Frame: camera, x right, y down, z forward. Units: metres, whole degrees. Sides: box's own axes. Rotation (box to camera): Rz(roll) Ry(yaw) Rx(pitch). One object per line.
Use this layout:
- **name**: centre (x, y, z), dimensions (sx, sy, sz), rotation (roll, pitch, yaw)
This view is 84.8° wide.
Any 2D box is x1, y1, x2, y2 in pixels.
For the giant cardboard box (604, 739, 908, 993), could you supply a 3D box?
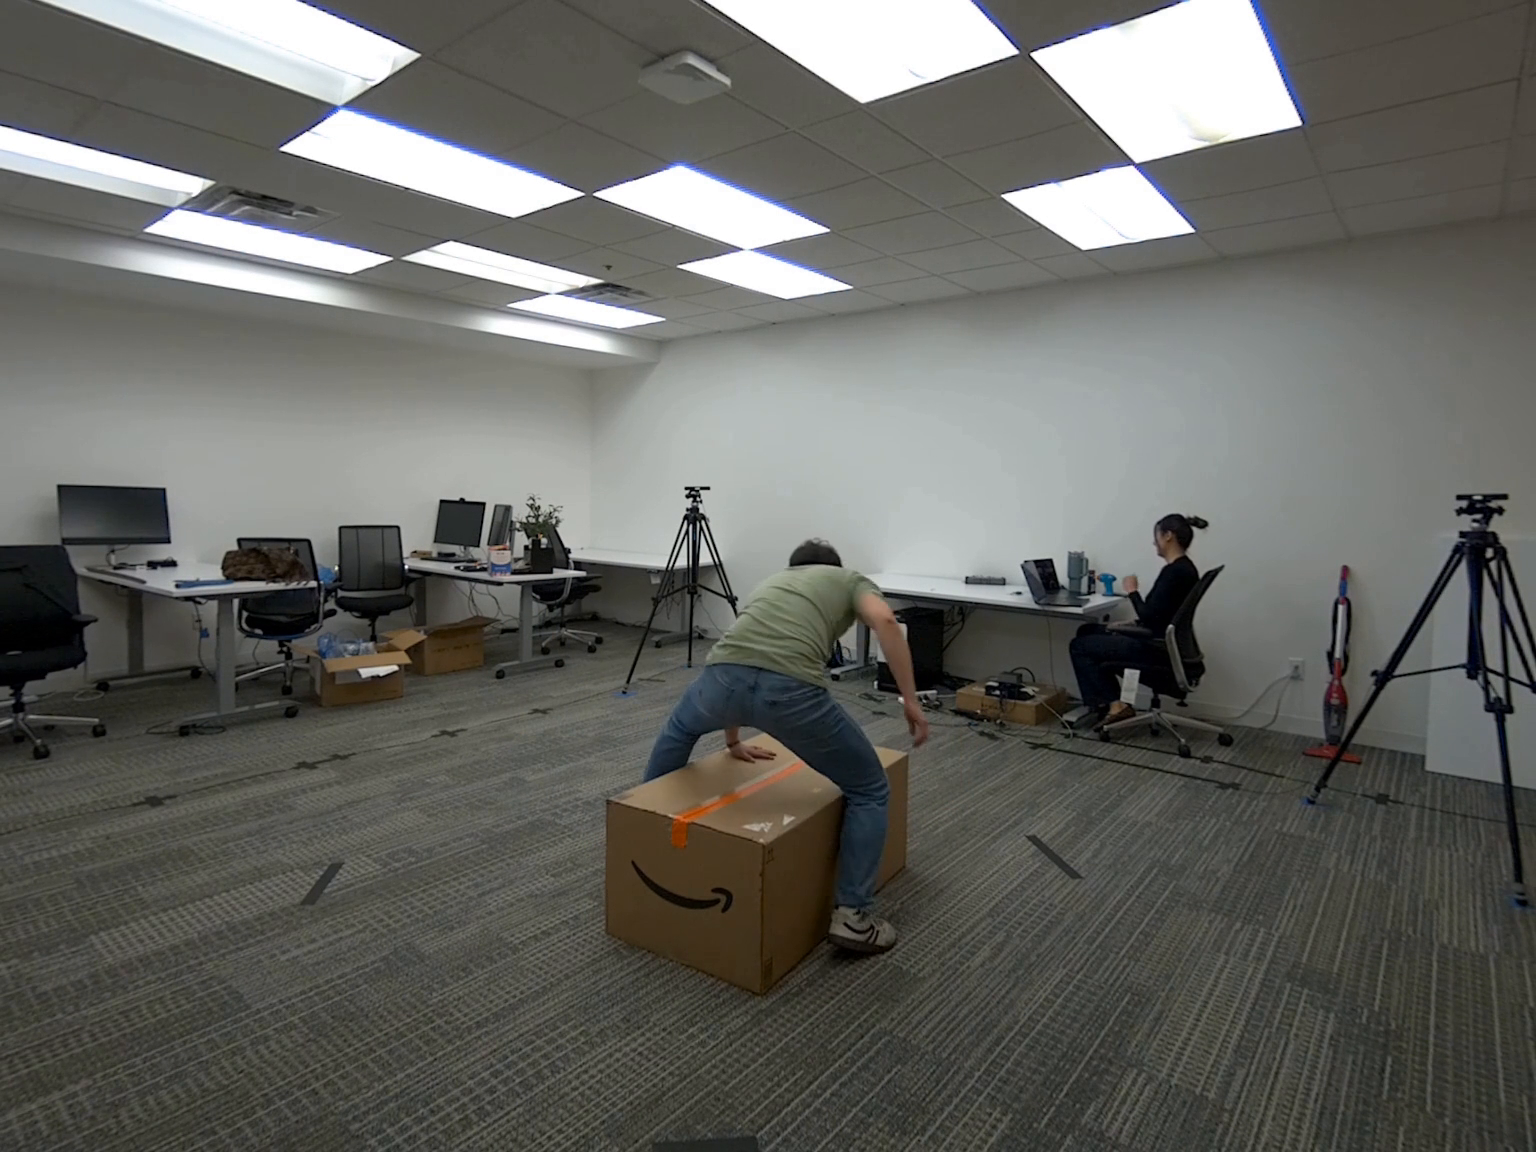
- **giant cardboard box**: centre (-0.003, 0.877, 2.887), dimensions (0.595, 0.425, 0.998), rotation (4, 6, 32)
